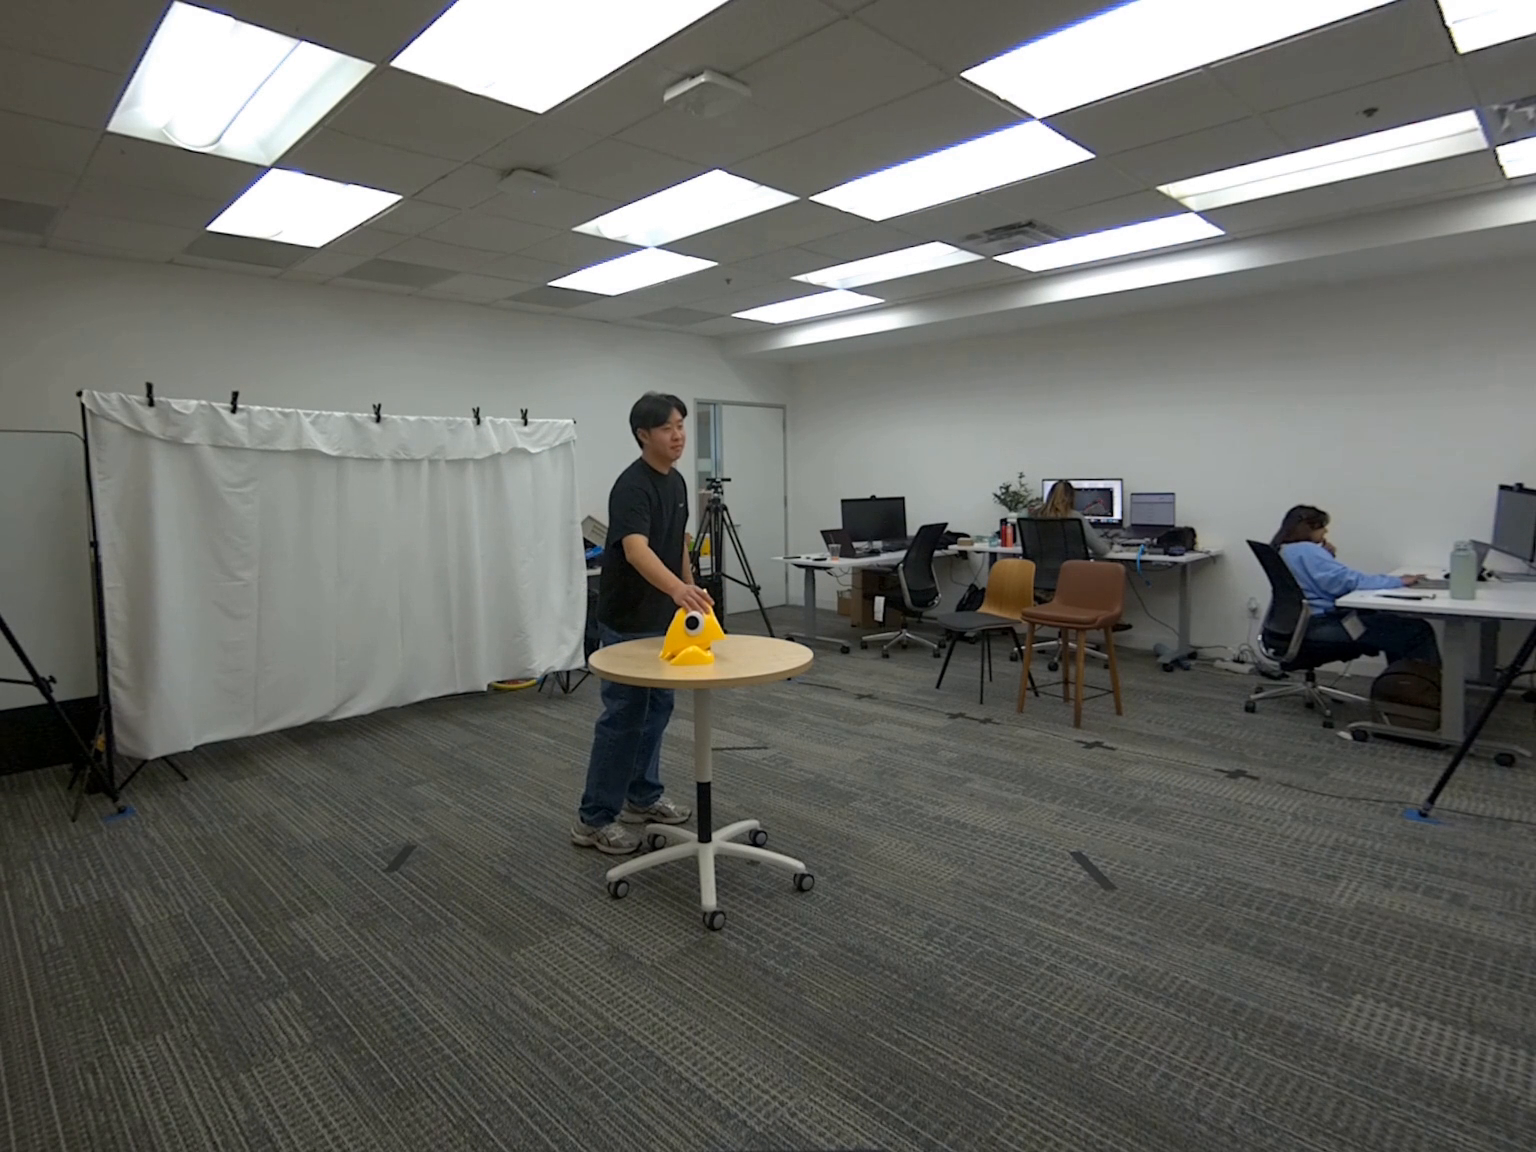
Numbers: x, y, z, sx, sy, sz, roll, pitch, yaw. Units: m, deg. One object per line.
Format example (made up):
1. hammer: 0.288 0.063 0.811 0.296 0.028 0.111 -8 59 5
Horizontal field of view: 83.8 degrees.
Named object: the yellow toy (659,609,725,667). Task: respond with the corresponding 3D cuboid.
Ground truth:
1. yellow toy: -0.257 0.165 2.851 0.189 0.230 0.210 -3 5 -25
